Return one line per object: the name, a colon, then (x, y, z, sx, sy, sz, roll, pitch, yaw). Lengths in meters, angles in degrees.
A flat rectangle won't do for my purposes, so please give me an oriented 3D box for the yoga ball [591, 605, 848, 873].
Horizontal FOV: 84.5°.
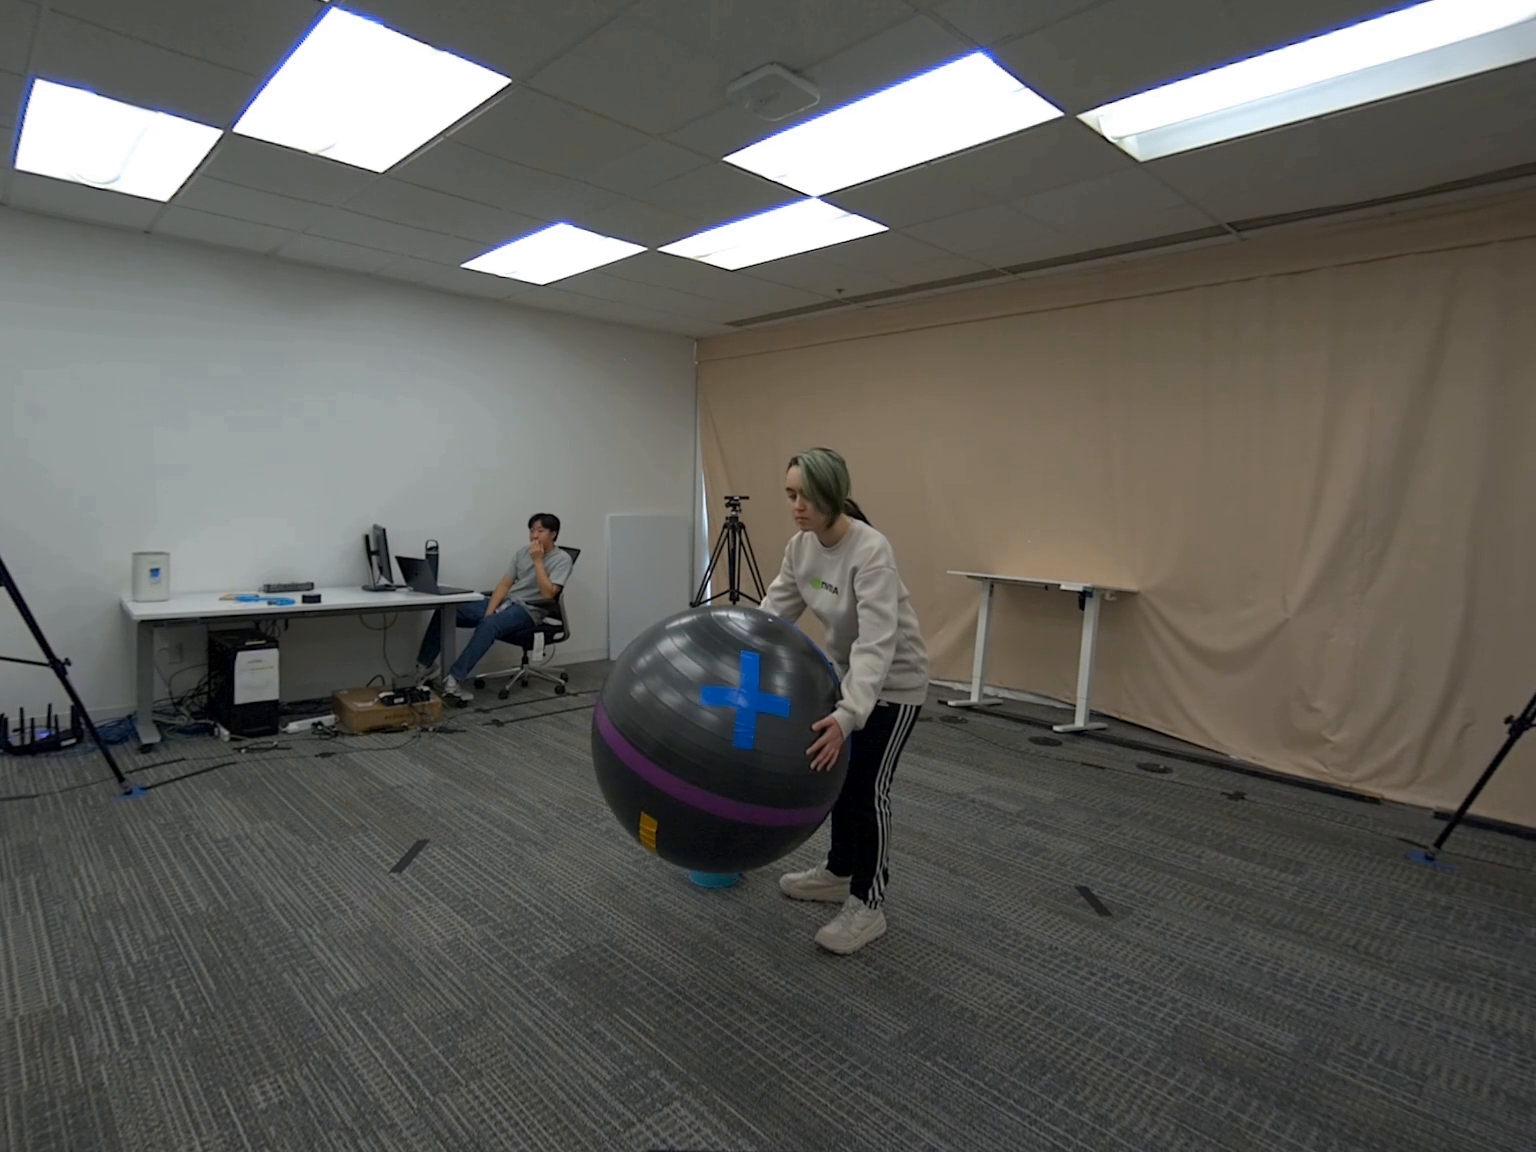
yoga ball: (-0.137, 0.478, 2.463, 0.757, 0.756, 0.761, 1, 4, -1)
